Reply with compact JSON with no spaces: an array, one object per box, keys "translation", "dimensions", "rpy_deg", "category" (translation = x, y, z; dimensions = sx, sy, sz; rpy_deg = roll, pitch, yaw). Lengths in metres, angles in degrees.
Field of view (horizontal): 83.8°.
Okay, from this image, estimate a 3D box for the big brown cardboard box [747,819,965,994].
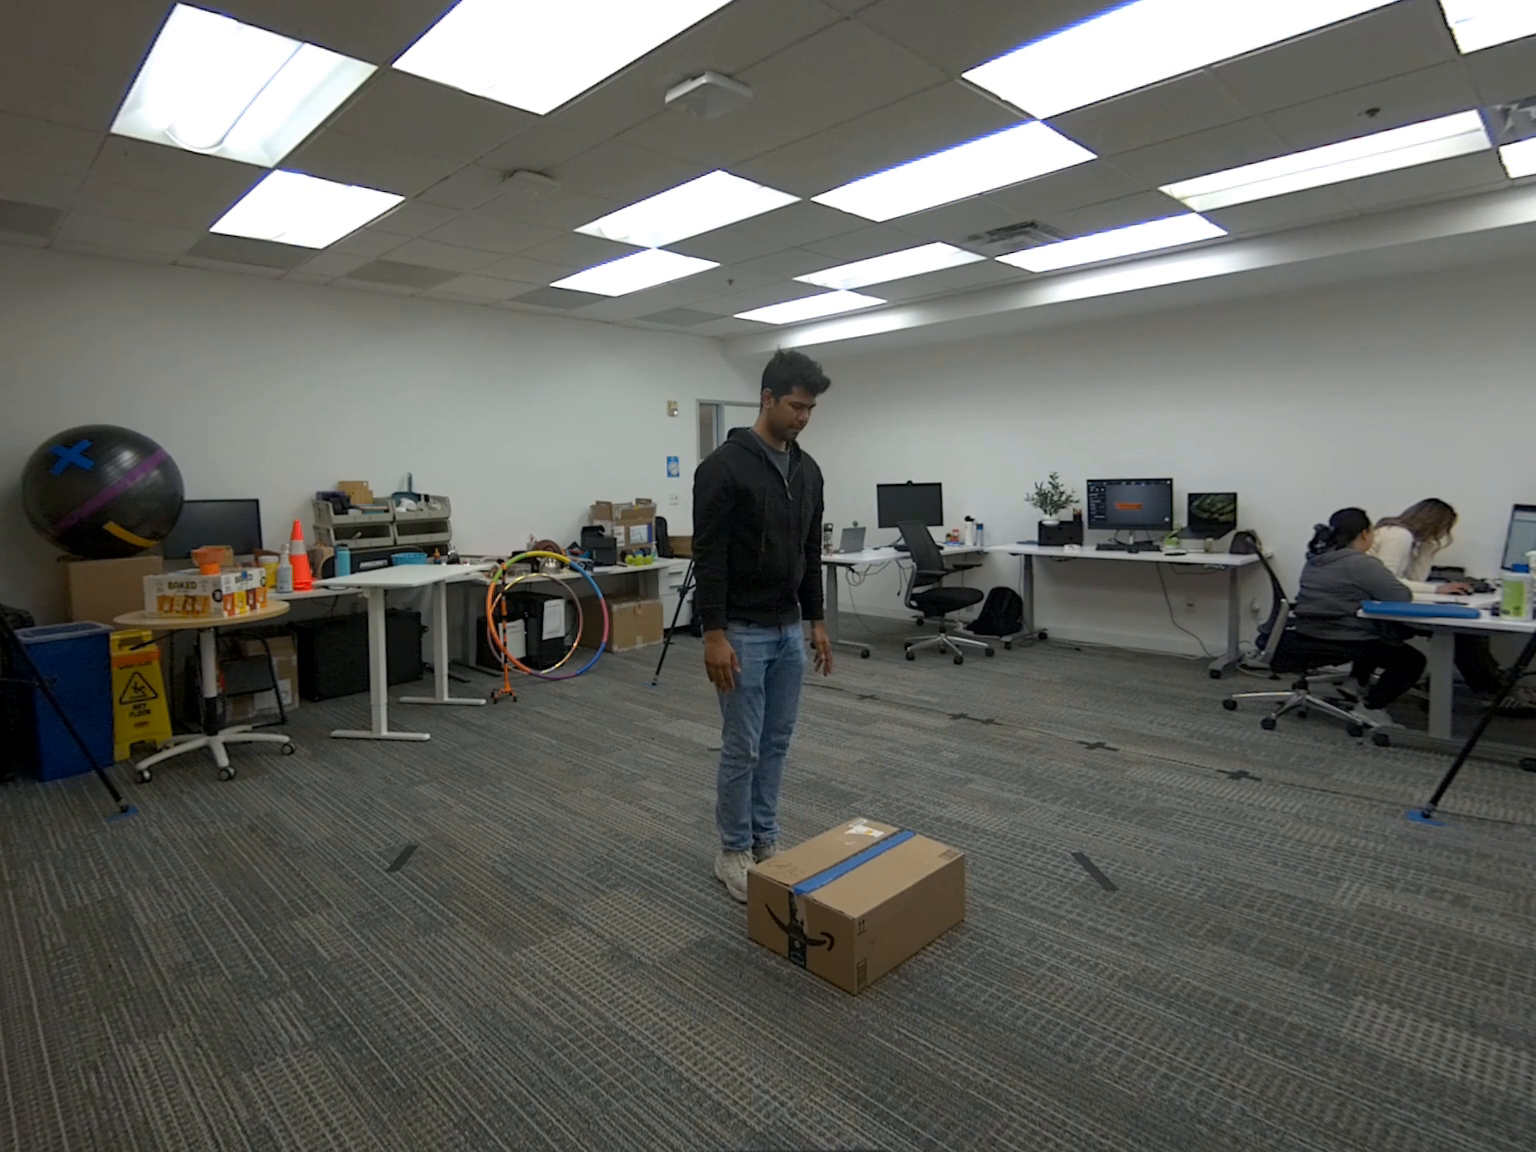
[{"translation":[0.281,0.981,2.637],"dimensions":[0.430,0.232,0.574],"rpy_deg":[5,9,45],"category":"big brown cardboard box"}]
